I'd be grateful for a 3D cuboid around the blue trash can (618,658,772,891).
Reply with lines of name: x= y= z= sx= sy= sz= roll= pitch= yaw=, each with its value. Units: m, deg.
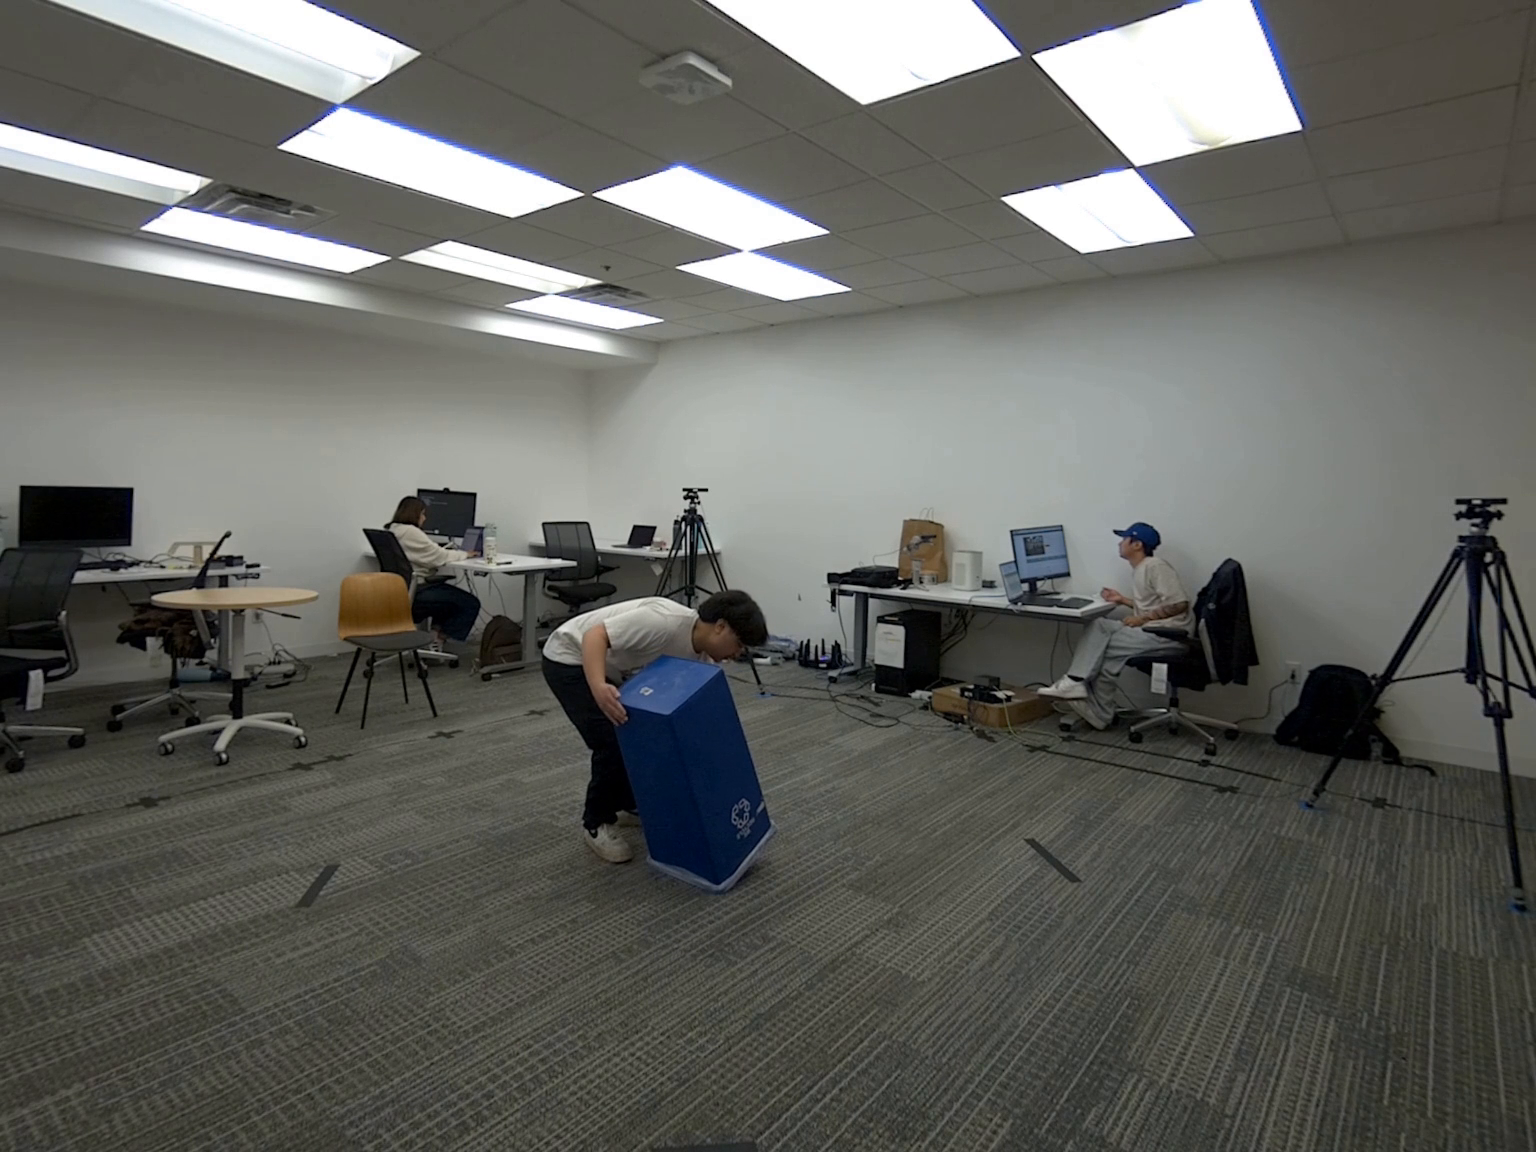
blue trash can: x=-0.292 y=0.686 z=3.030 sx=0.391 sy=0.697 sz=0.370 roll=4 pitch=27 yaw=40
